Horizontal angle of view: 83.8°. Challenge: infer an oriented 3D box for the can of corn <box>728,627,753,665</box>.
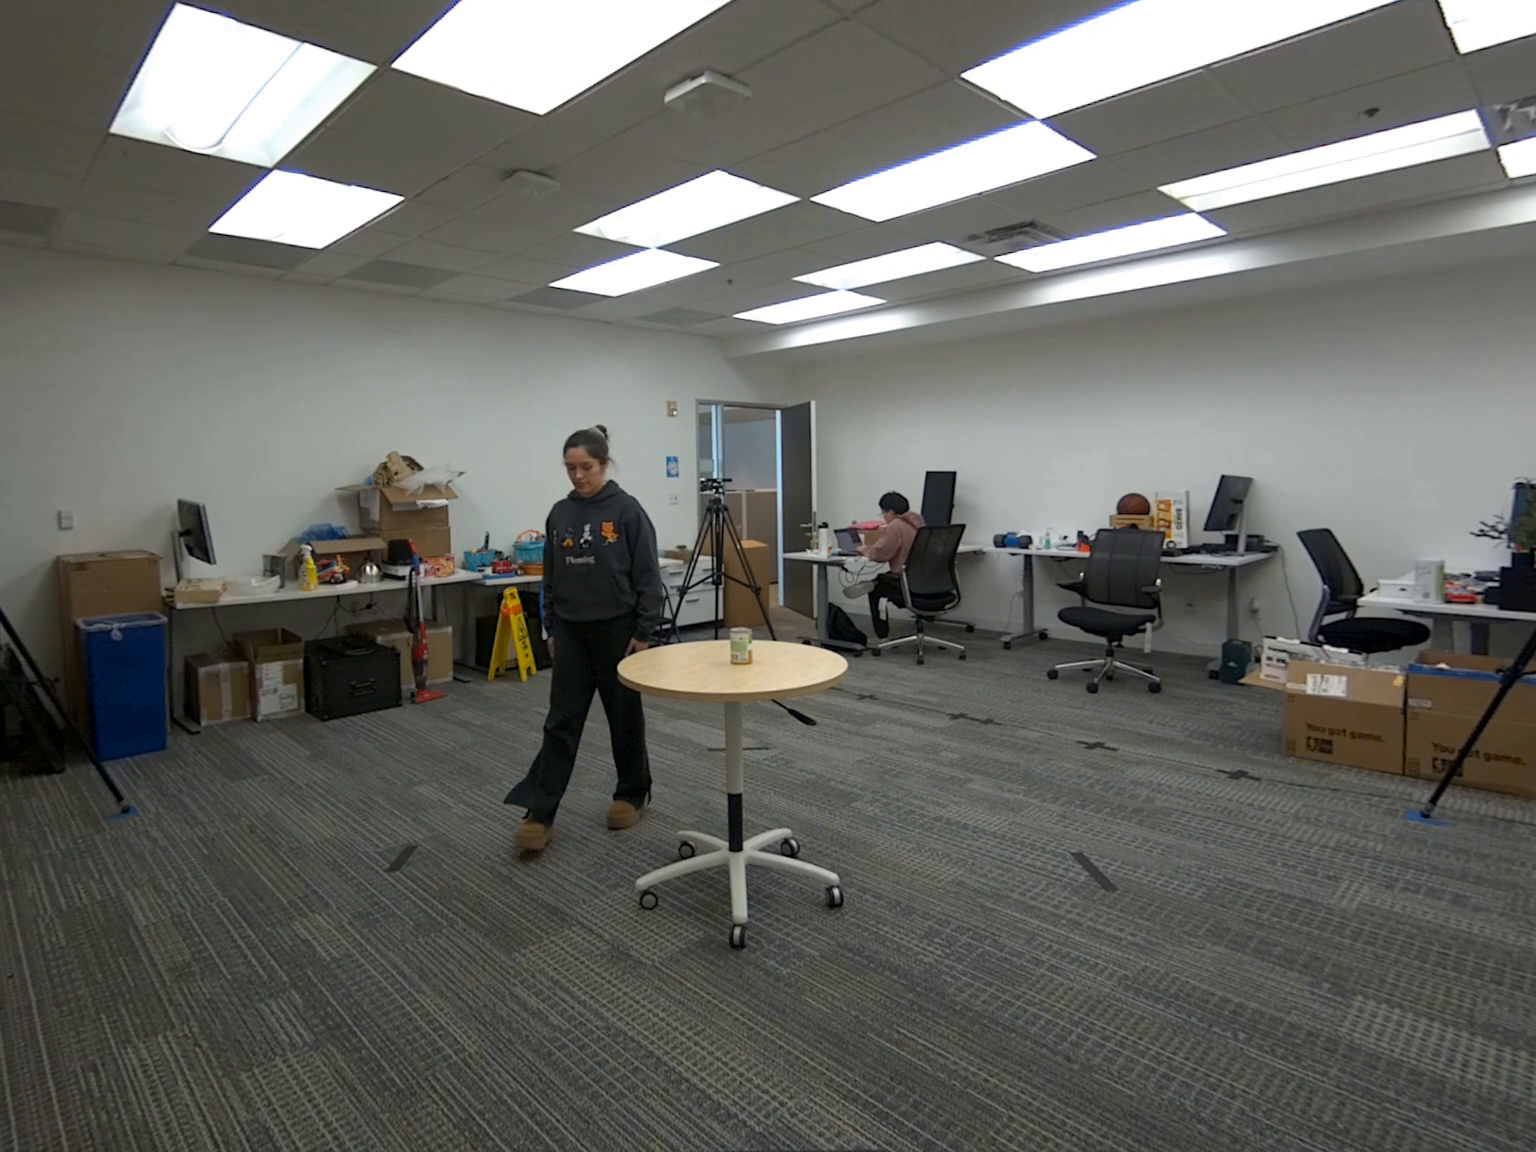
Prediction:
[{"bbox_3d":[-0.090,0.234,2.846,0.074,0.111,0.074,-2,3,-2],"label":"can of corn"}]
